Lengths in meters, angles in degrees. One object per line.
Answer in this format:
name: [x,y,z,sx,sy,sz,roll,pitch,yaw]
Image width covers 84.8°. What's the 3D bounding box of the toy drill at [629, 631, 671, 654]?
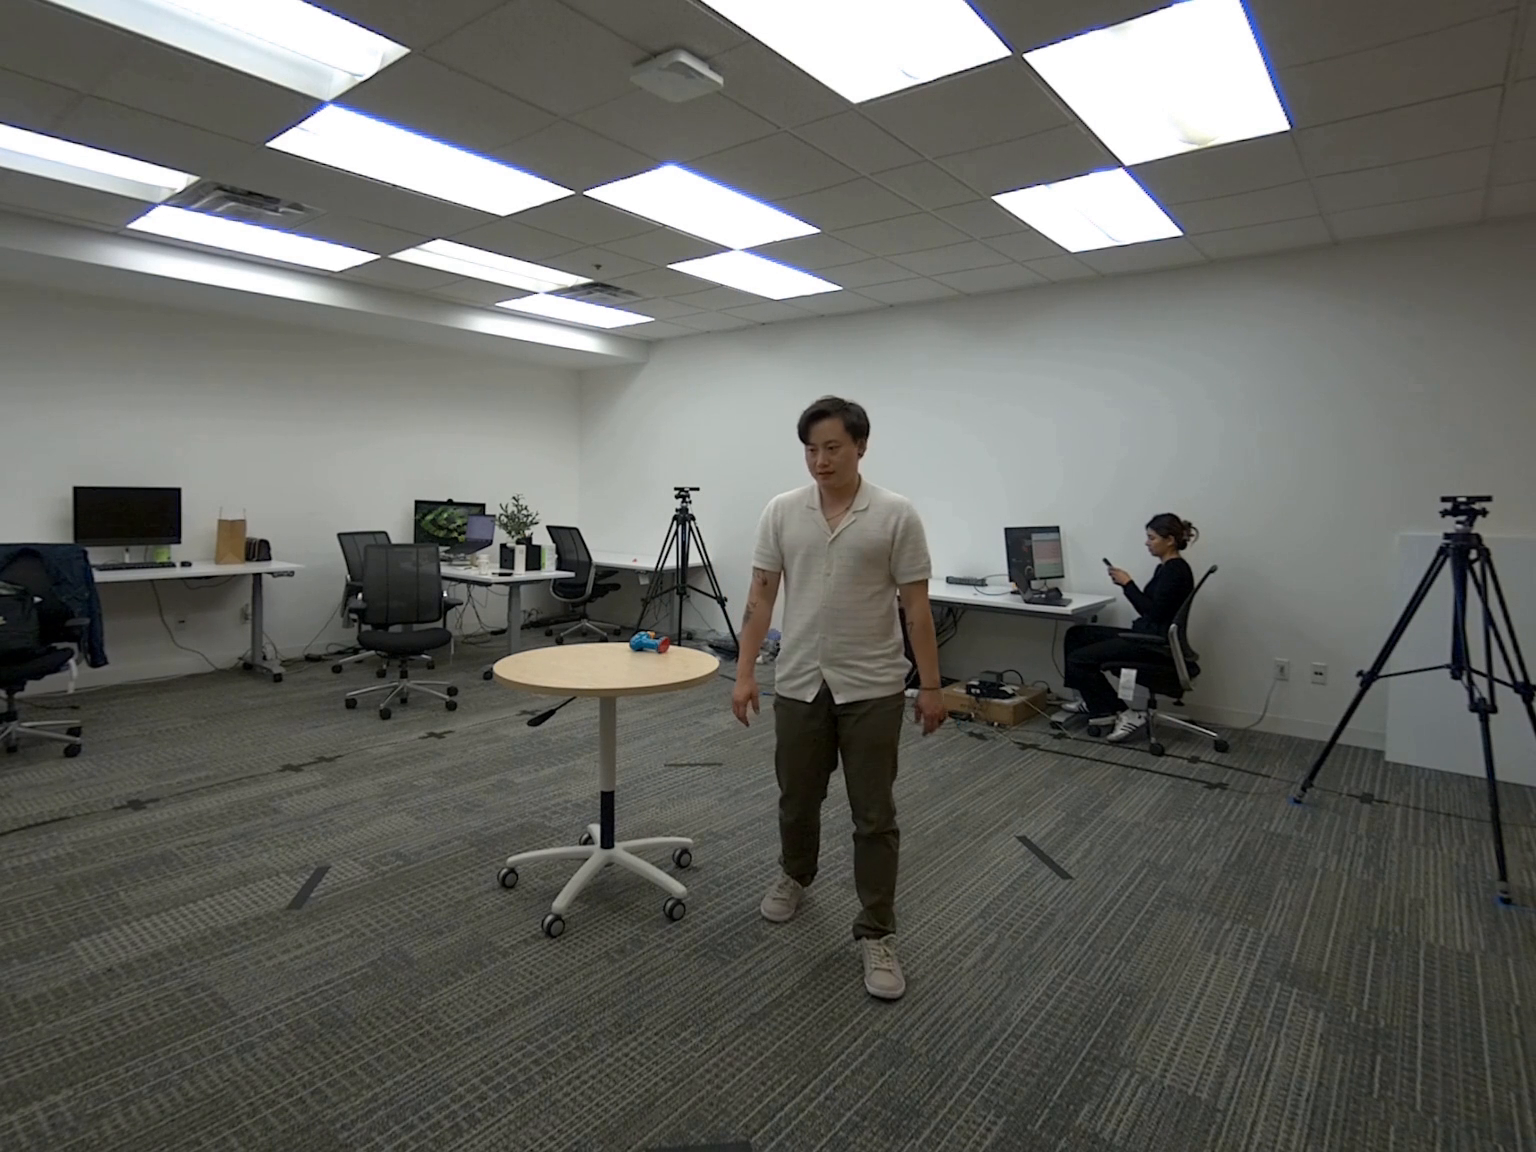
toy drill: [-0.445,0.241,3.171,0.149,0.060,0.167,4,13,22]
